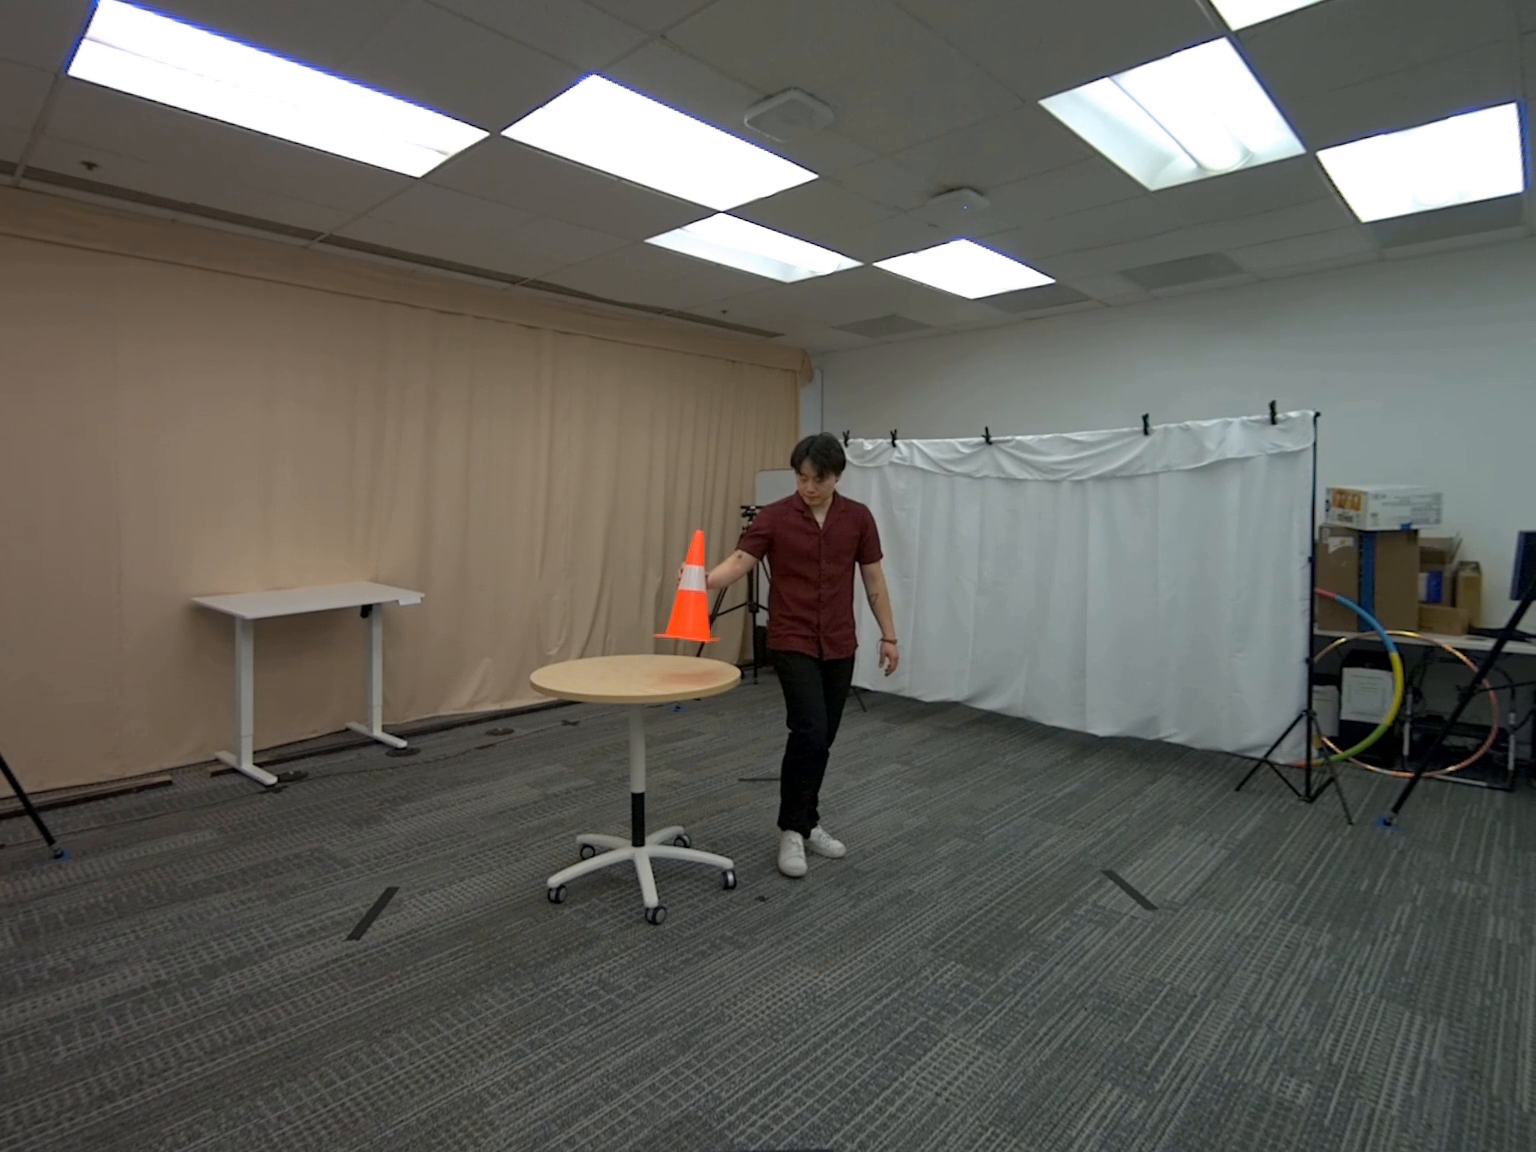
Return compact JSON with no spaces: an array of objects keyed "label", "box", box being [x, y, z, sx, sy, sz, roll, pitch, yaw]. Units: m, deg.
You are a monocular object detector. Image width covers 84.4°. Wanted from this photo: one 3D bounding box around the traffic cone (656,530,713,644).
[{"label":"traffic cone","box":[-0.264,0.031,2.998,0.207,0.384,0.201,5,-4,14]}]
